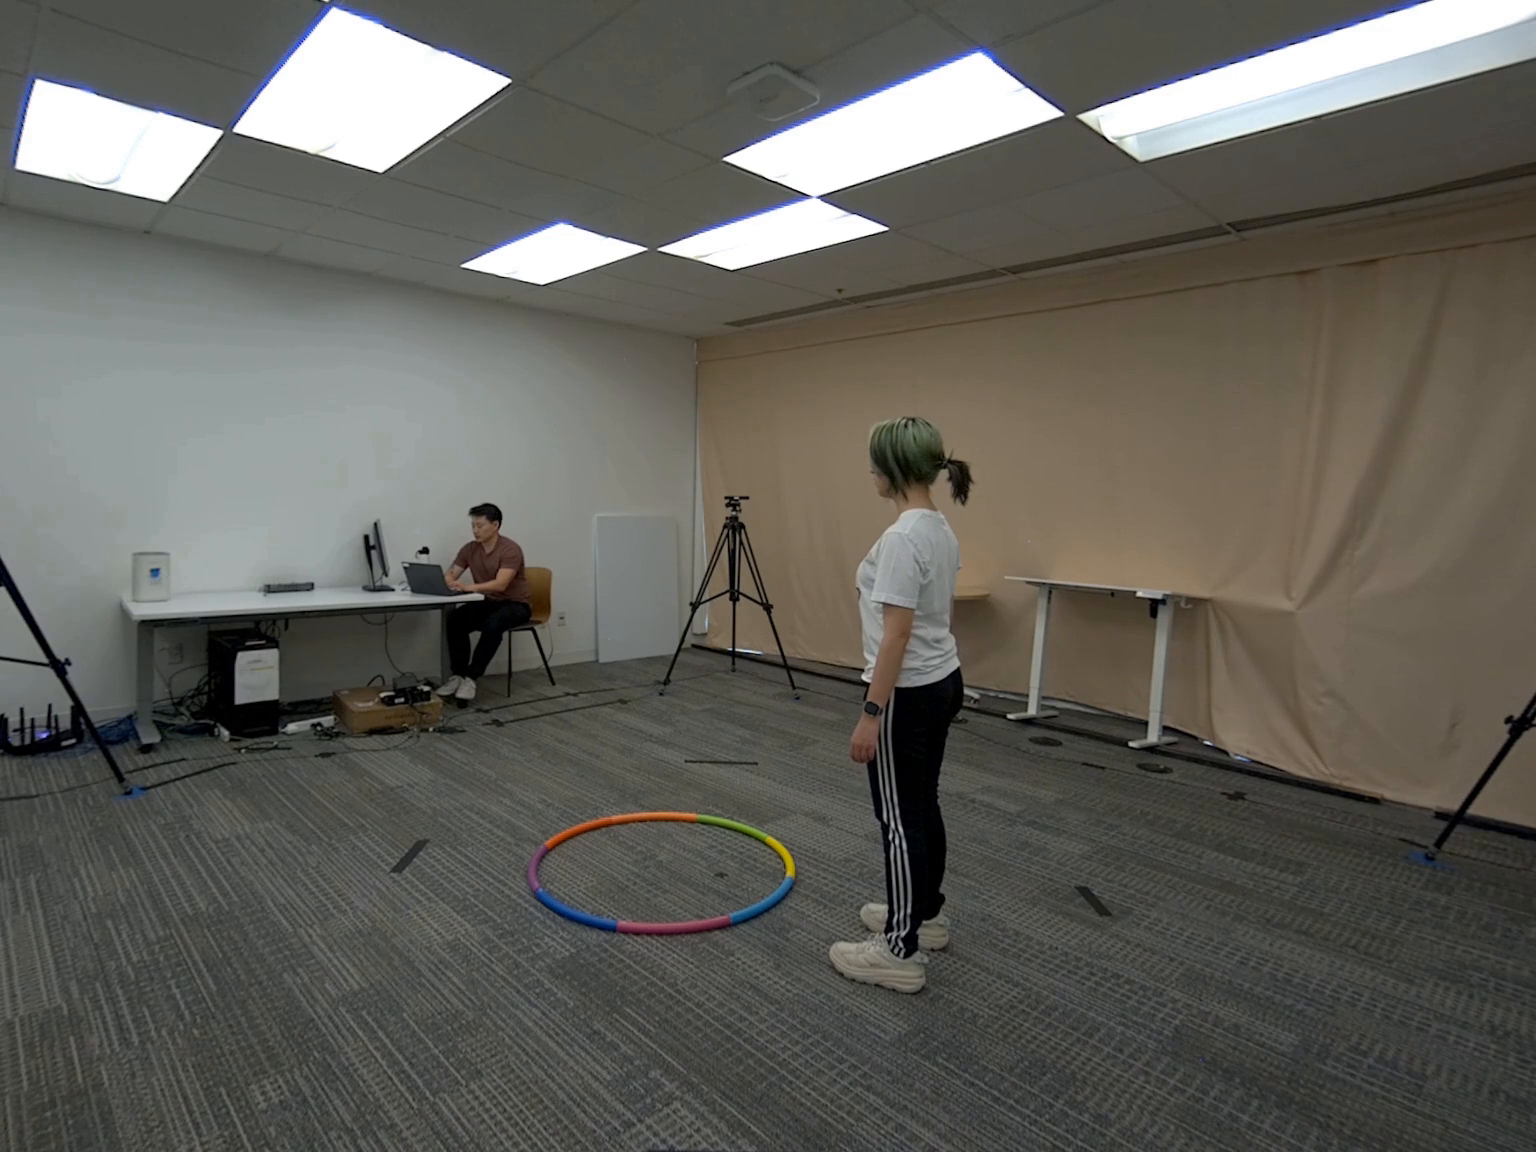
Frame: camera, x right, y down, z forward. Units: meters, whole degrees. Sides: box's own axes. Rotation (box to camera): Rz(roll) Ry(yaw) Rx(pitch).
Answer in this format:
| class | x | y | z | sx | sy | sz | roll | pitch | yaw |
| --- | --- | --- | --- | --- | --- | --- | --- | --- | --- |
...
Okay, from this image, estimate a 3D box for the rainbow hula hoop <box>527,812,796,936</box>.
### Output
| class | x | y | z | sx | sy | sz | roll | pitch | yaw |
| --- | --- | --- | --- | --- | --- | --- | --- | --- | --- |
| rainbow hula hoop | -0.393 | 1.066 | 3.146 | 0.978 | 0.035 | 0.982 | 1 | 5 | -1 |
